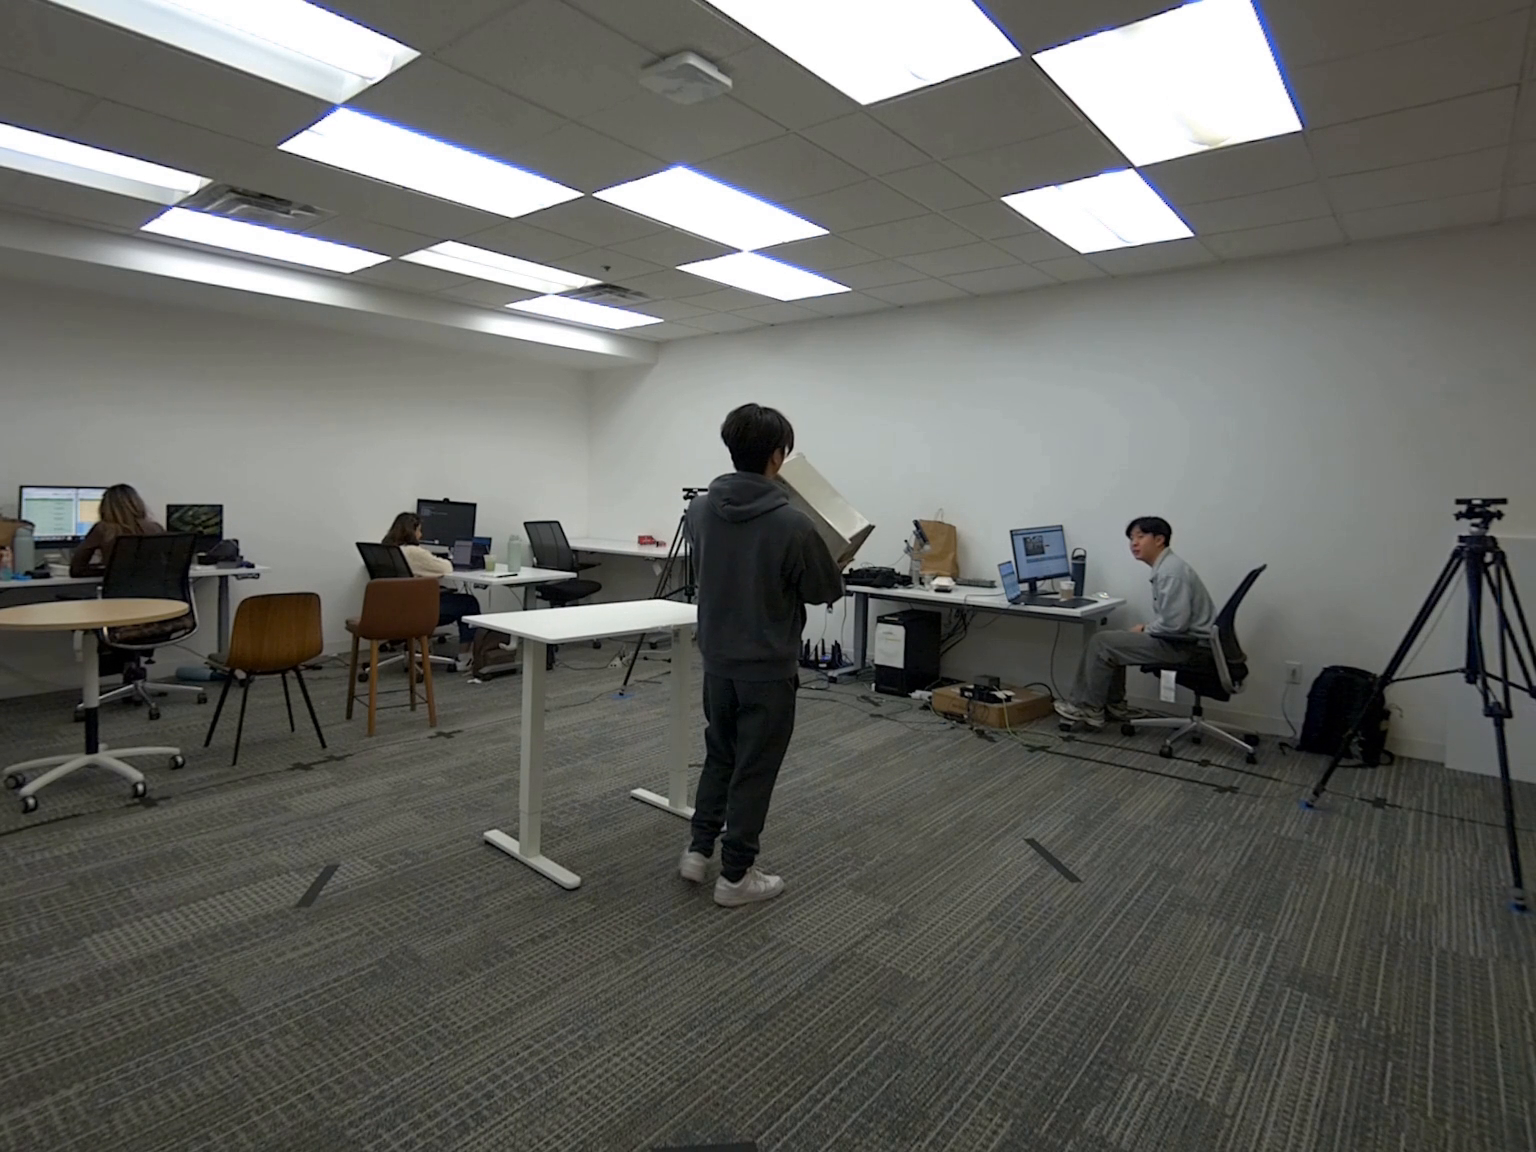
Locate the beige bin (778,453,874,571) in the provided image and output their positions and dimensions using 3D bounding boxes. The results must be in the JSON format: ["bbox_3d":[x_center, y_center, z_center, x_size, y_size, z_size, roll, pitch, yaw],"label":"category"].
[{"bbox_3d":[0.122,-0.196,3.258,0.186,0.433,0.373,-29,-21,-38],"label":"beige bin"}]
